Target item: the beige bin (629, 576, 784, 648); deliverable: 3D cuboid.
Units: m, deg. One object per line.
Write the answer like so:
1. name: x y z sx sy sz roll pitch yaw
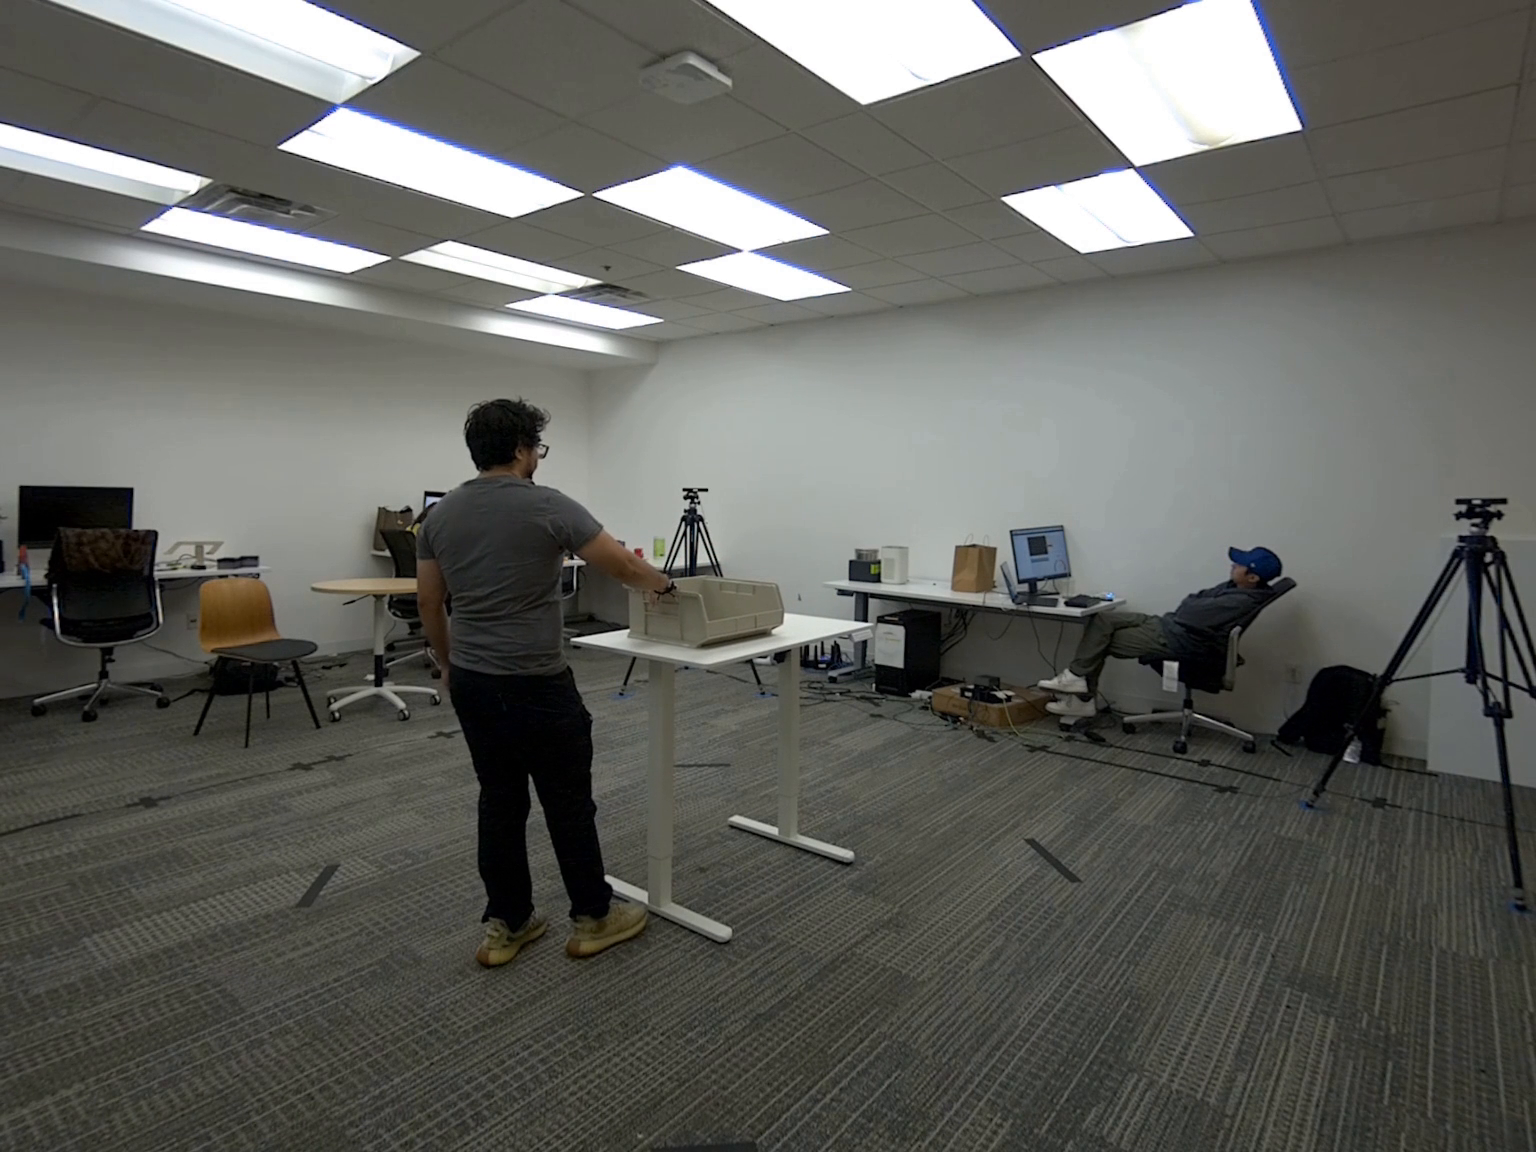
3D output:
1. beige bin: -0.224 0.114 2.933 0.389 0.188 0.410 3 6 39
